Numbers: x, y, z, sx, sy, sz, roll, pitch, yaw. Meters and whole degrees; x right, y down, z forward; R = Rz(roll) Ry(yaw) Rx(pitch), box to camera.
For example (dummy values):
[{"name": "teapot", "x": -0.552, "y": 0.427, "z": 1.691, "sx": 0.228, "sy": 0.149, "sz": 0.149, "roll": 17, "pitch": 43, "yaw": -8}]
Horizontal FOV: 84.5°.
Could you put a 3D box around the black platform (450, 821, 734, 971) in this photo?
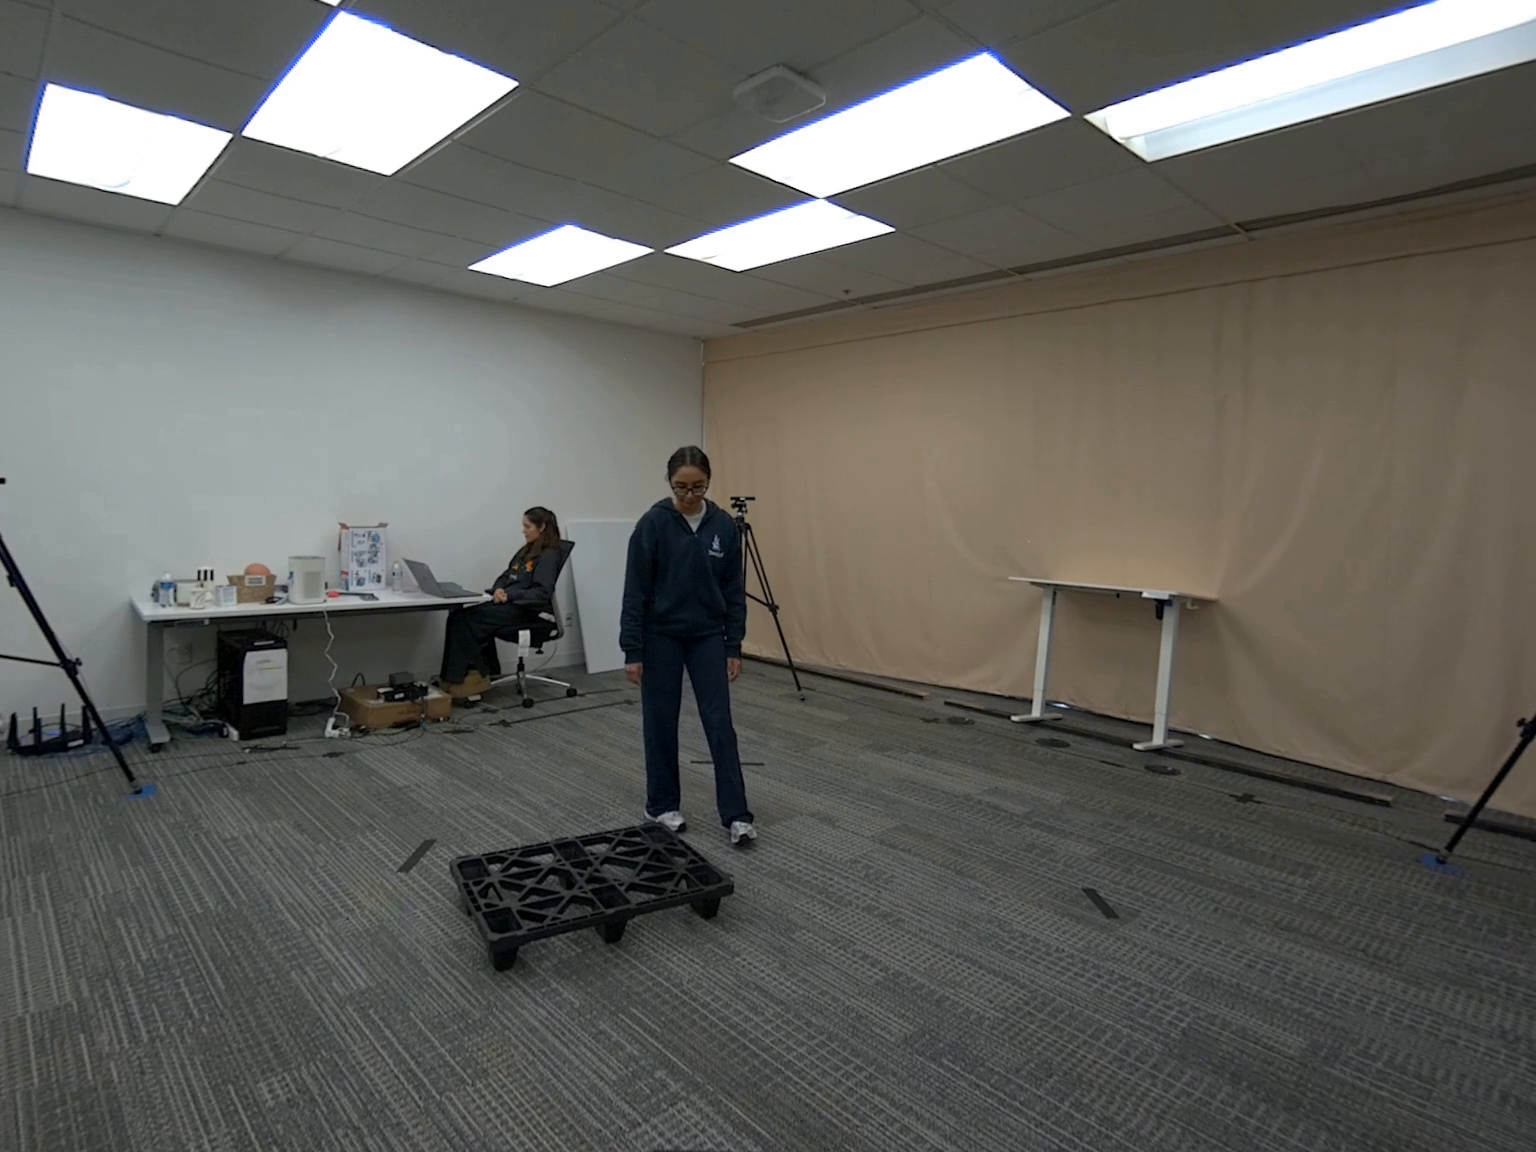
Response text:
[{"name": "black platform", "x": -0.599, "y": 1.056, "z": 2.820, "sx": 0.789, "sy": 0.143, "sz": 0.619, "roll": -2, "pitch": 7, "yaw": -31}]
